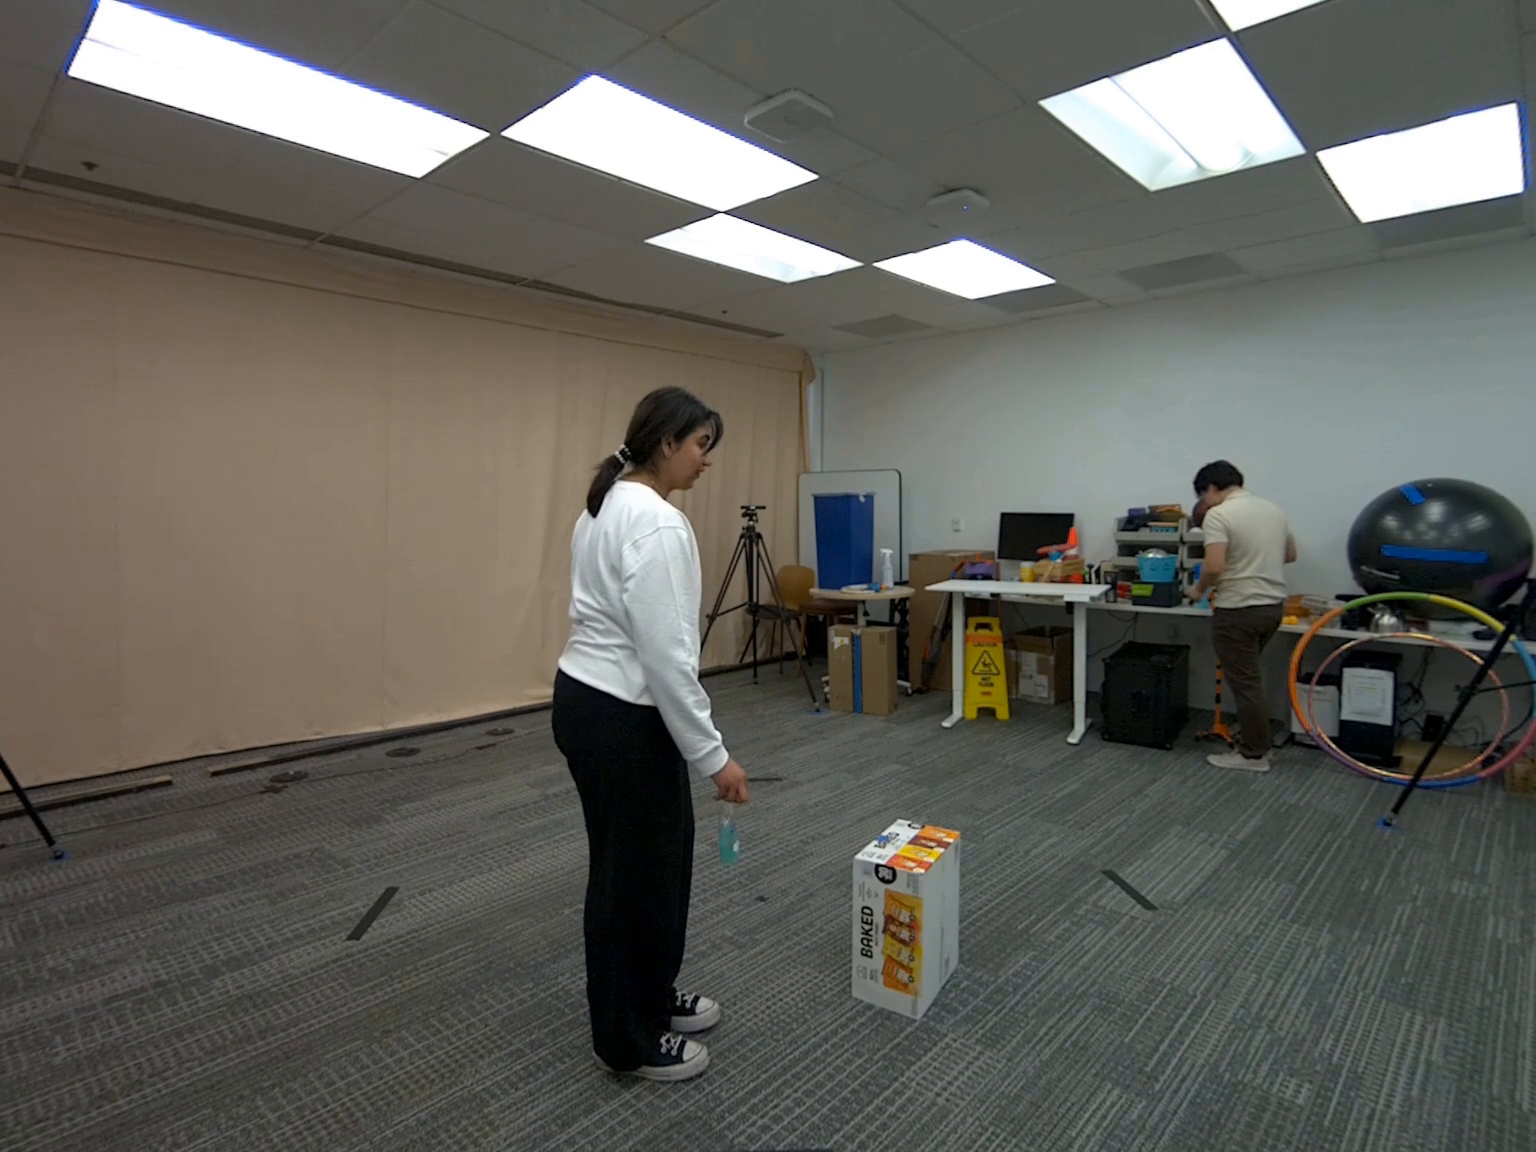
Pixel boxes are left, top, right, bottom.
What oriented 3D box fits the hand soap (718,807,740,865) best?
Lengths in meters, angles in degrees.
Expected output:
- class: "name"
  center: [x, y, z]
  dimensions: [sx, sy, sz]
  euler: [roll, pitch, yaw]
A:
- class: "hand soap"
  center: [-0.081, 0.582, 1.965]
  dimensions: [0.044, 0.167, 0.083]
  euler: [3, 9, 18]
